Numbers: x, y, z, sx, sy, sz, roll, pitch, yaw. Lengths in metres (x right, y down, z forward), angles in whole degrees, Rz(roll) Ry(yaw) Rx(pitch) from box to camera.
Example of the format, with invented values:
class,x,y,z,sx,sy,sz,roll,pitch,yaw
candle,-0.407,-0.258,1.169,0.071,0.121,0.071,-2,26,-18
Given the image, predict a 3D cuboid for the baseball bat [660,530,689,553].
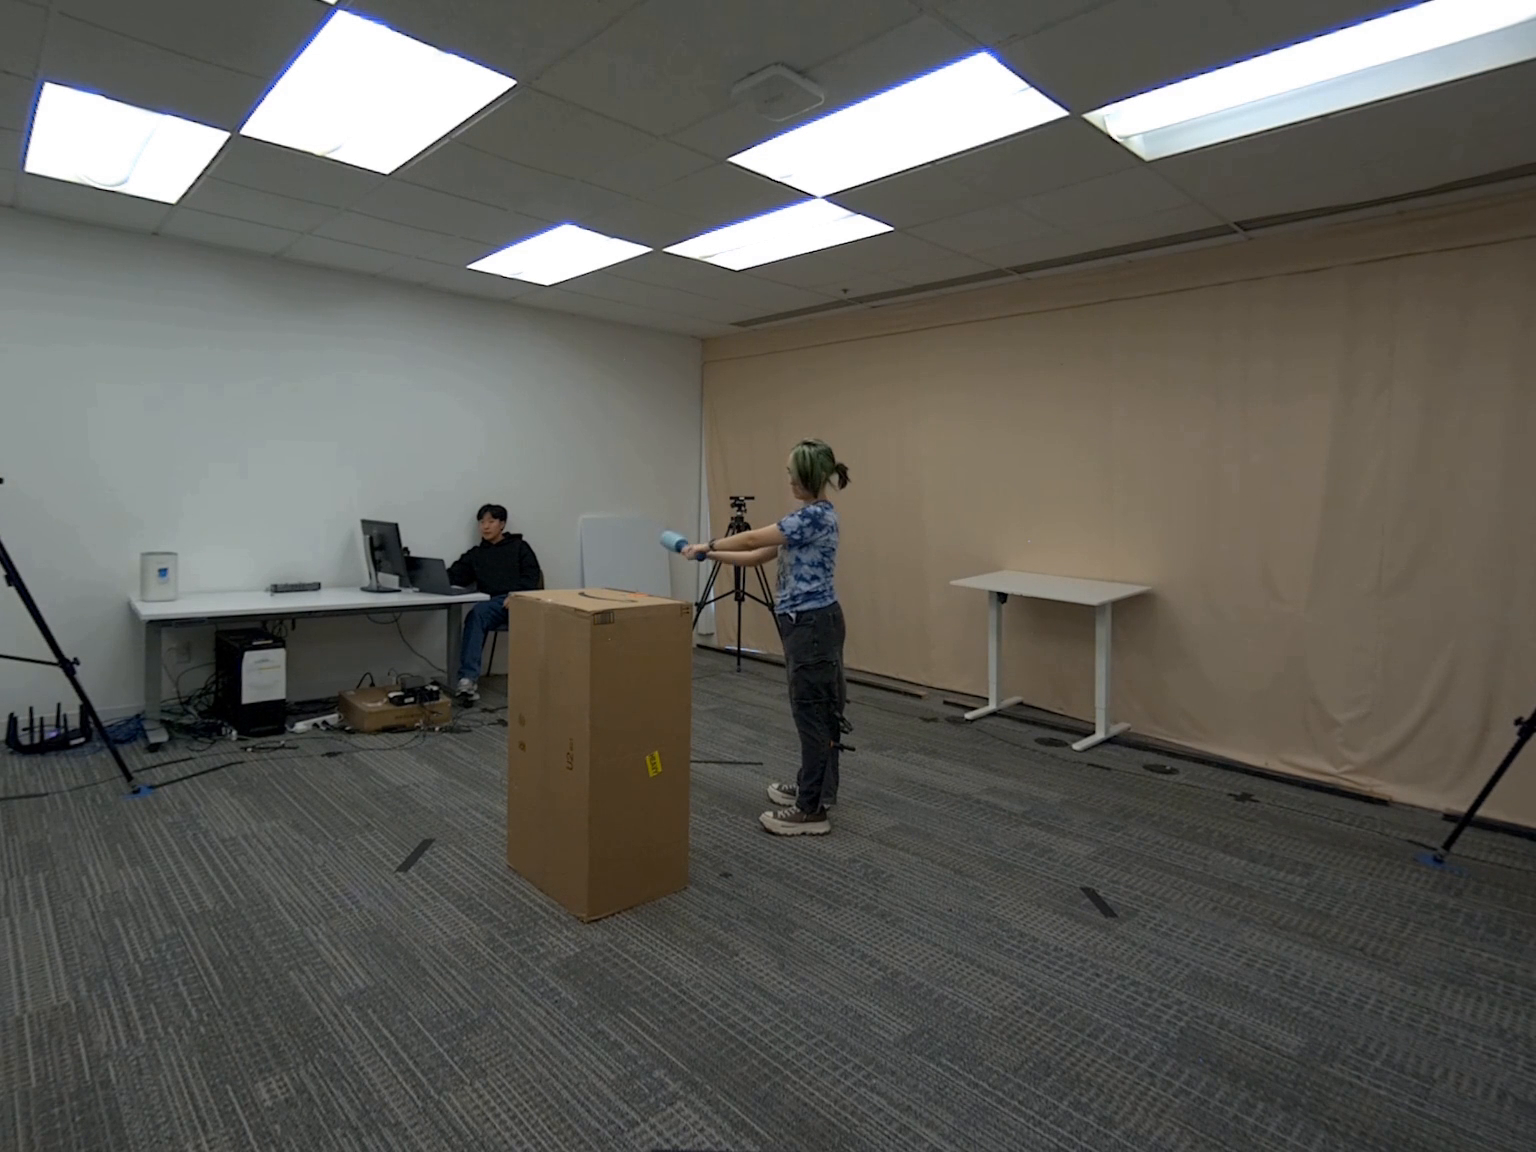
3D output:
class,x,y,z,sx,sy,sz,roll,pitch,yaw
baseball bat,-0.384,-0.138,3.935,0.087,0.088,0.555,0,10,-22
